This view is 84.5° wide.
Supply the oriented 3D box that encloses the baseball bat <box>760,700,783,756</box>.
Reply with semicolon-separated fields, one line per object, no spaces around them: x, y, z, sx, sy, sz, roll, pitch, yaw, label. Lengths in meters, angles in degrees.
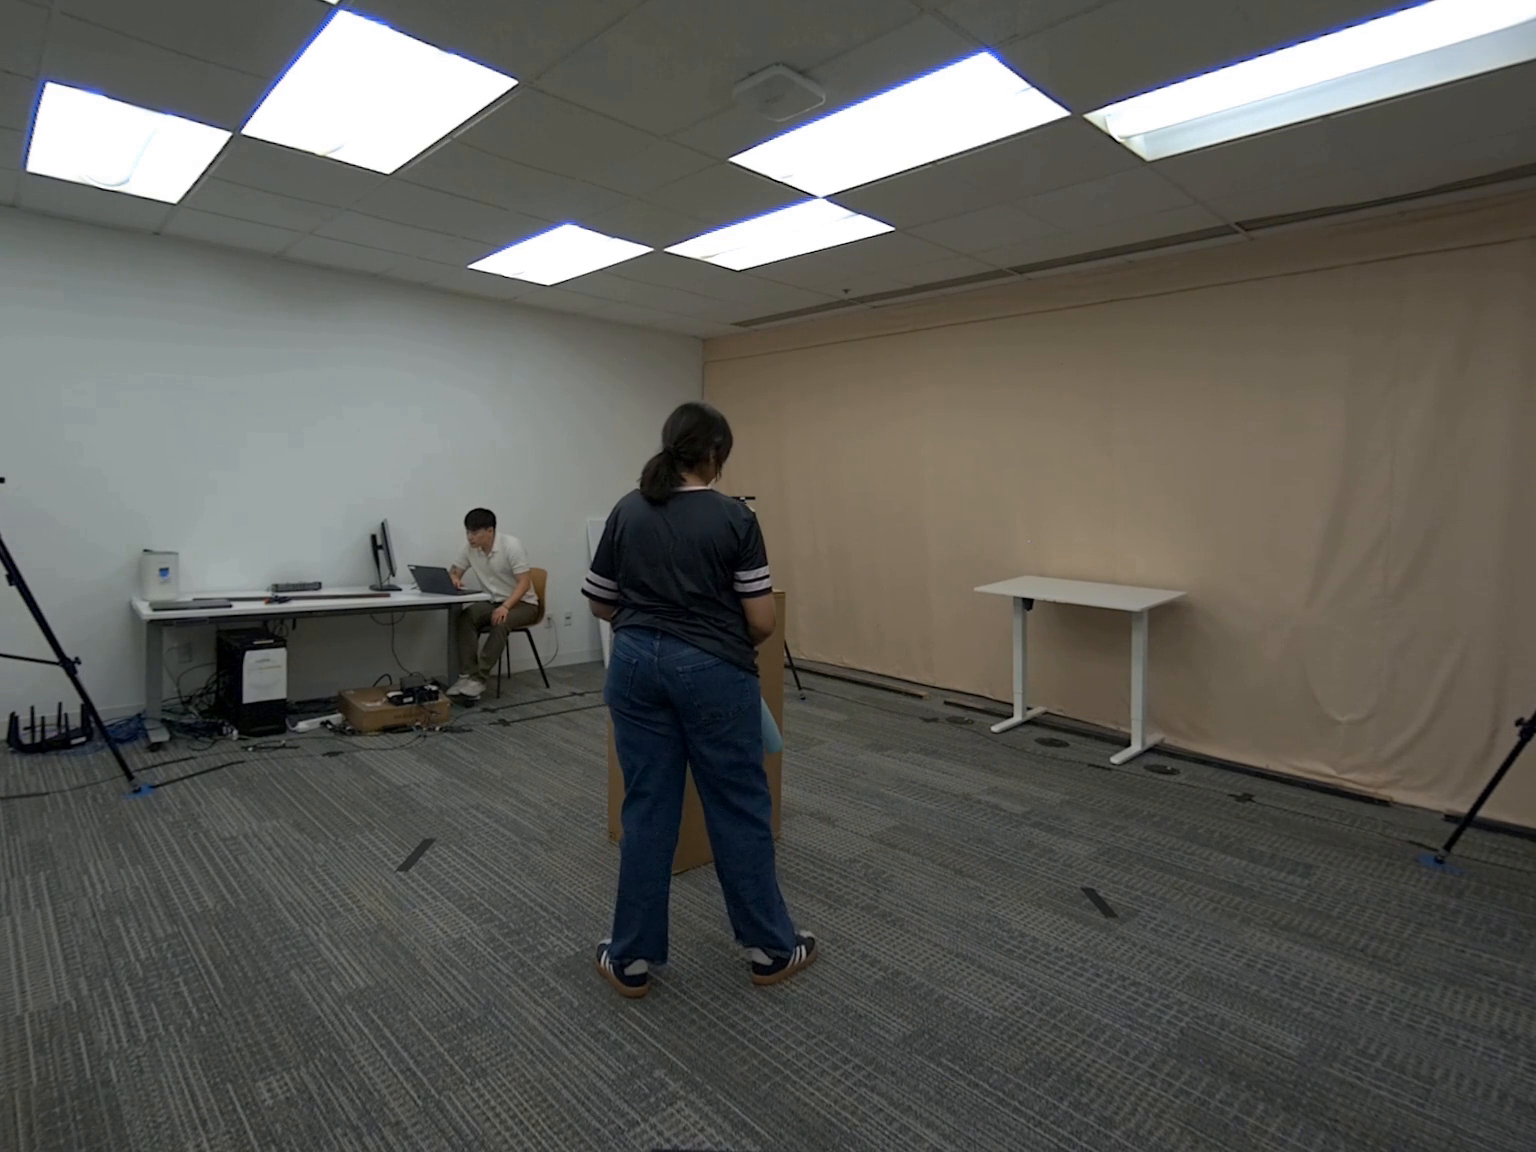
-0.067;0.390;2.748;0.089;0.529;0.091;-16;32;9;baseball bat
